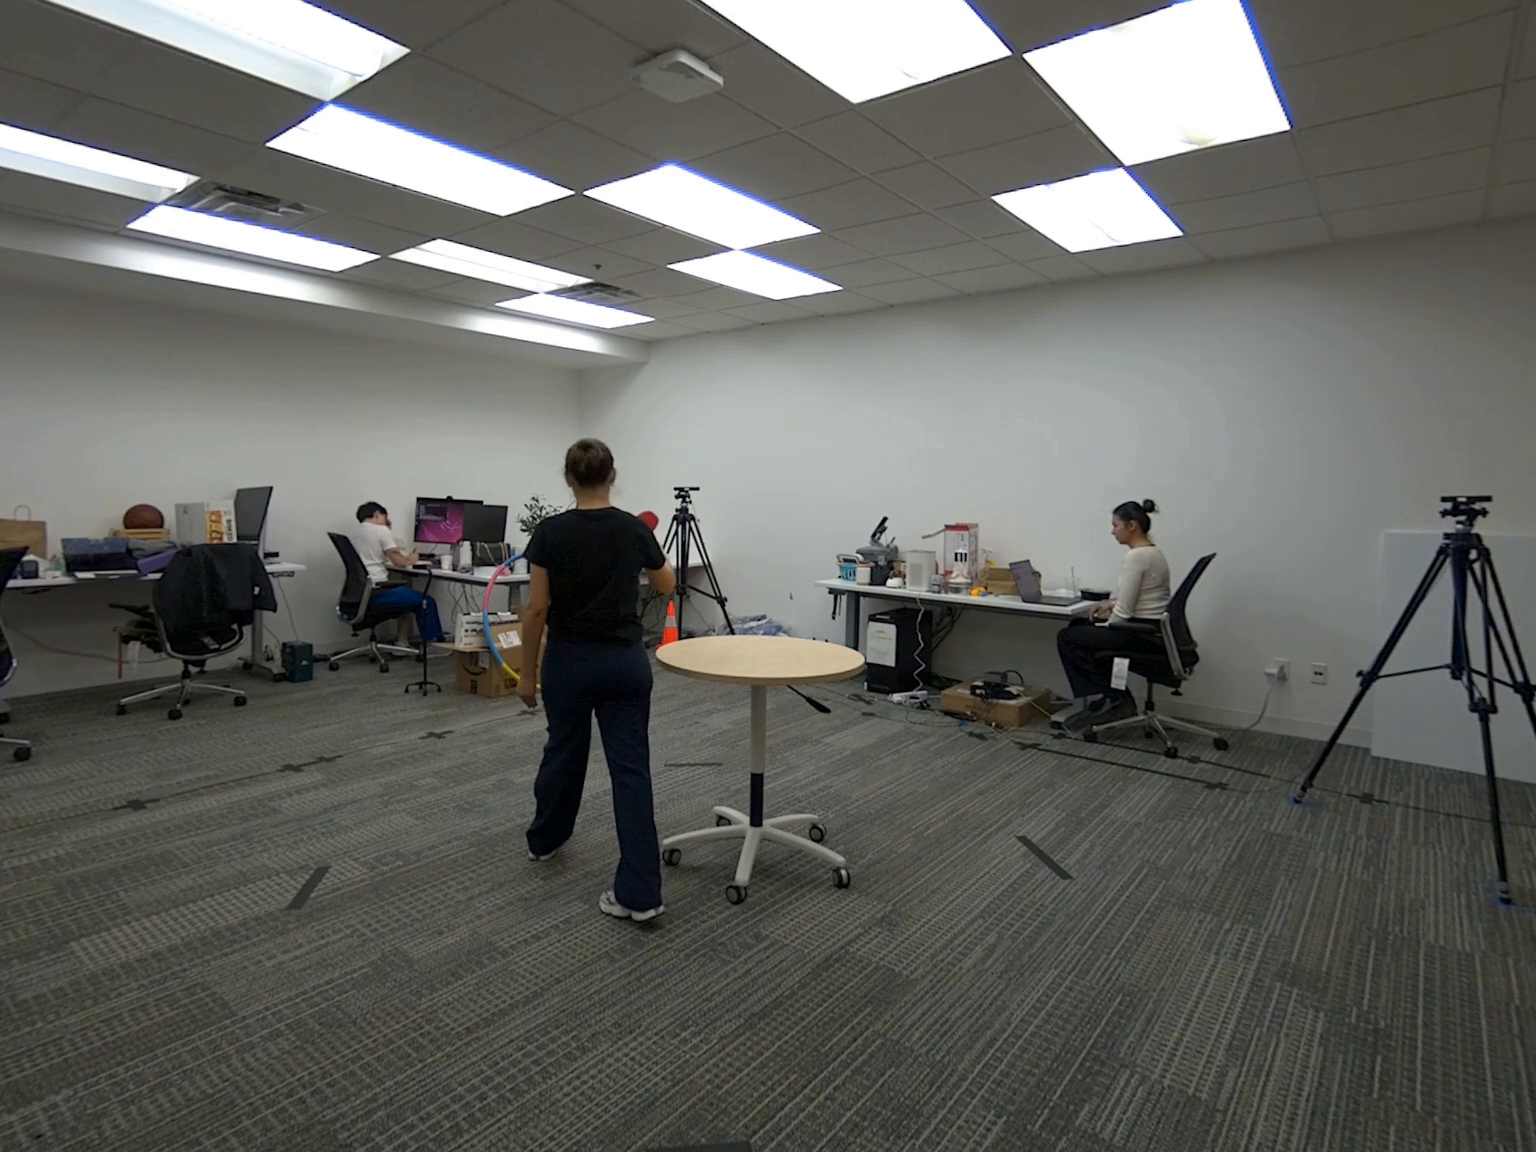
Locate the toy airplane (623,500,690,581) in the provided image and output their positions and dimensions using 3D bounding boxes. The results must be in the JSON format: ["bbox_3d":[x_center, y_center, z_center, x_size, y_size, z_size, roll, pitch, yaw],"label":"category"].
[{"bbox_3d":[-0.478,-0.135,3.397,0.260,0.255,0.153,12,-28,1],"label":"toy airplane"}]
